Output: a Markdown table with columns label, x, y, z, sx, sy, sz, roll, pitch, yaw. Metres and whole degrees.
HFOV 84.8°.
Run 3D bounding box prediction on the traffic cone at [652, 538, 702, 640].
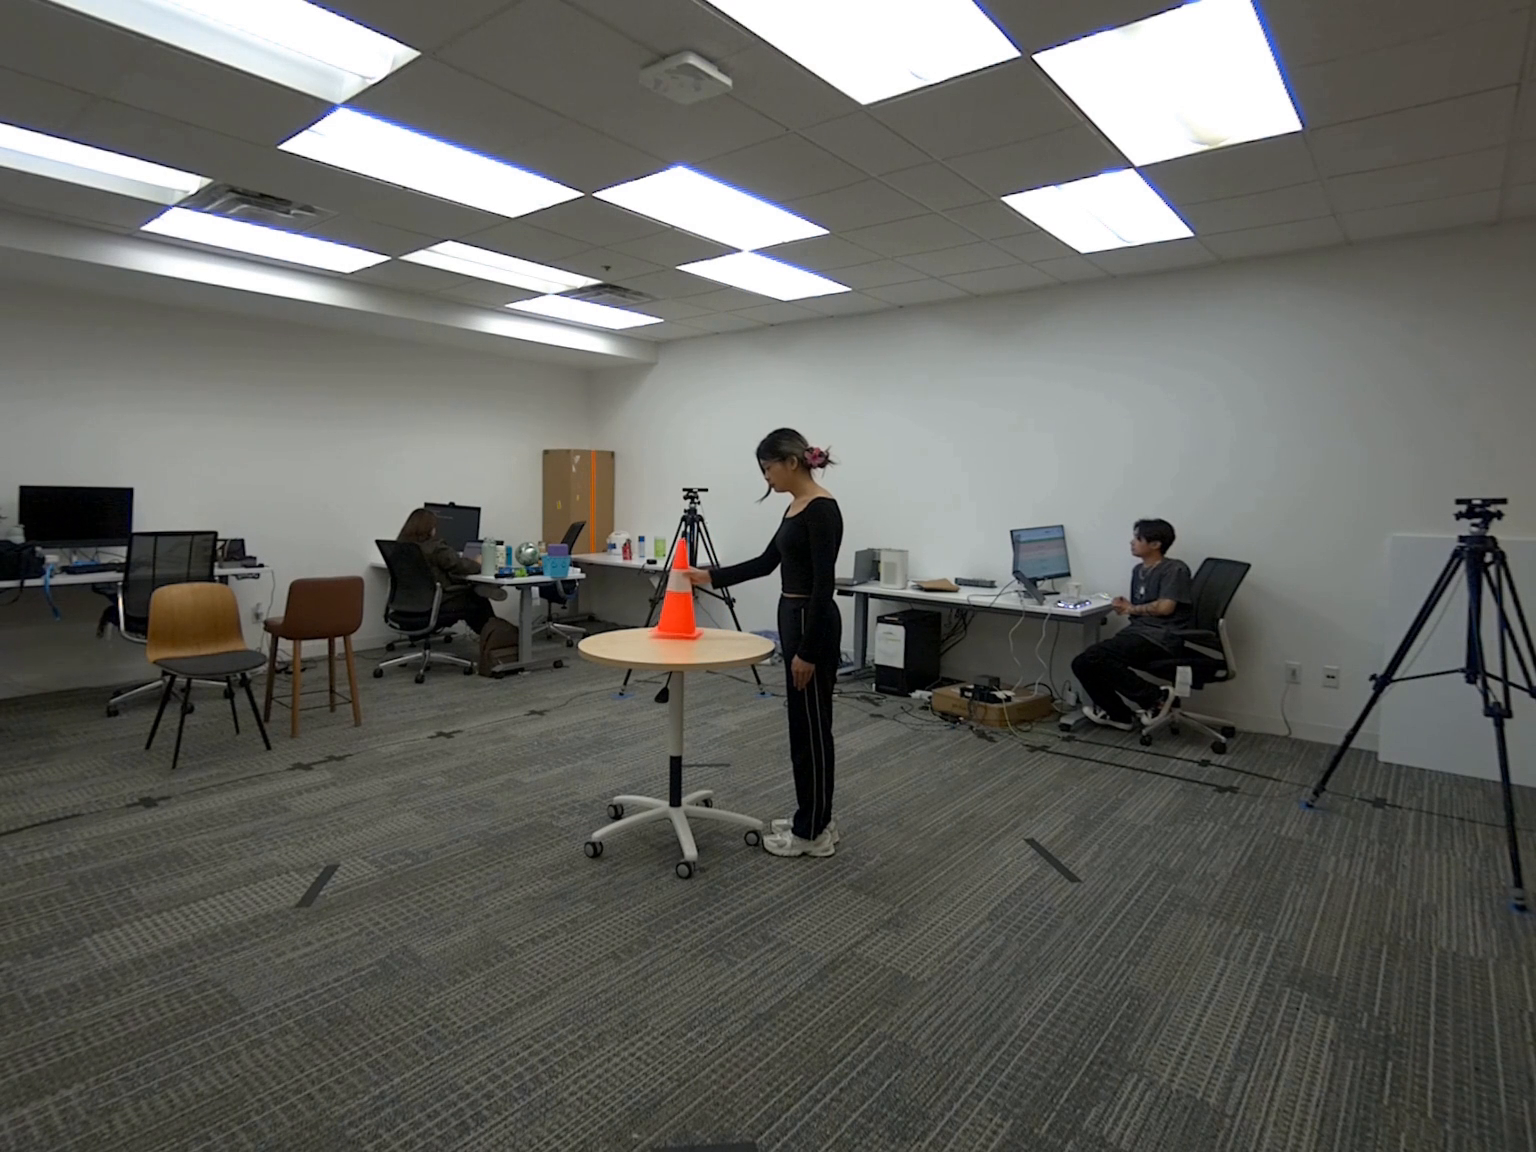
| label | x | y | z | sx | sy | sz | roll | pitch | yaw |
| --- | --- | --- | --- | --- | --- | --- | --- | --- | --- |
| traffic cone | -0.364 | 0.038 | 3.504 | 0.204 | 0.383 | 0.204 | 7 | 2 | 4 |
